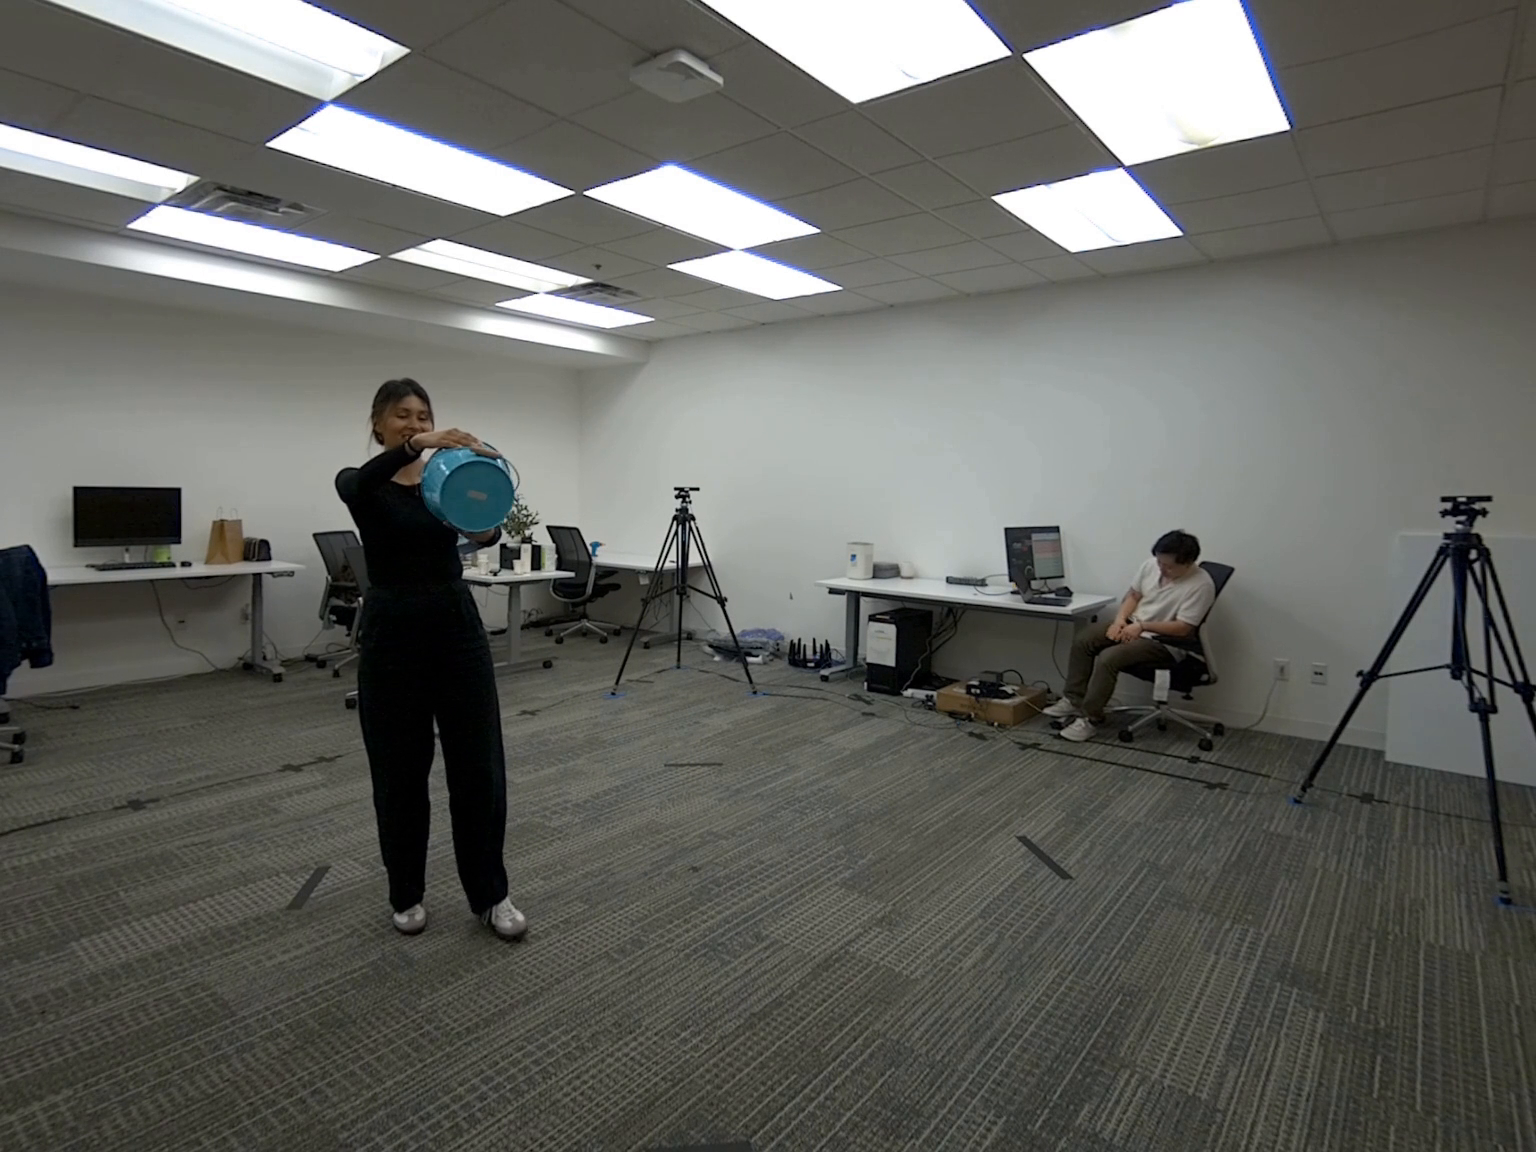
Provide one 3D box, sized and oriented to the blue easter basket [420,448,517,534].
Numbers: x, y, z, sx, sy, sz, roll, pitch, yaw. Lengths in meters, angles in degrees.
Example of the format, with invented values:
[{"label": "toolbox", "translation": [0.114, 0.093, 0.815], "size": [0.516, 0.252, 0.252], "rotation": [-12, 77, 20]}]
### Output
[{"label": "blue easter basket", "translation": [-0.766, -0.221, 2.152], "size": [0.237, 0.241, 0.161], "rotation": [-1, 13, -27]}]
